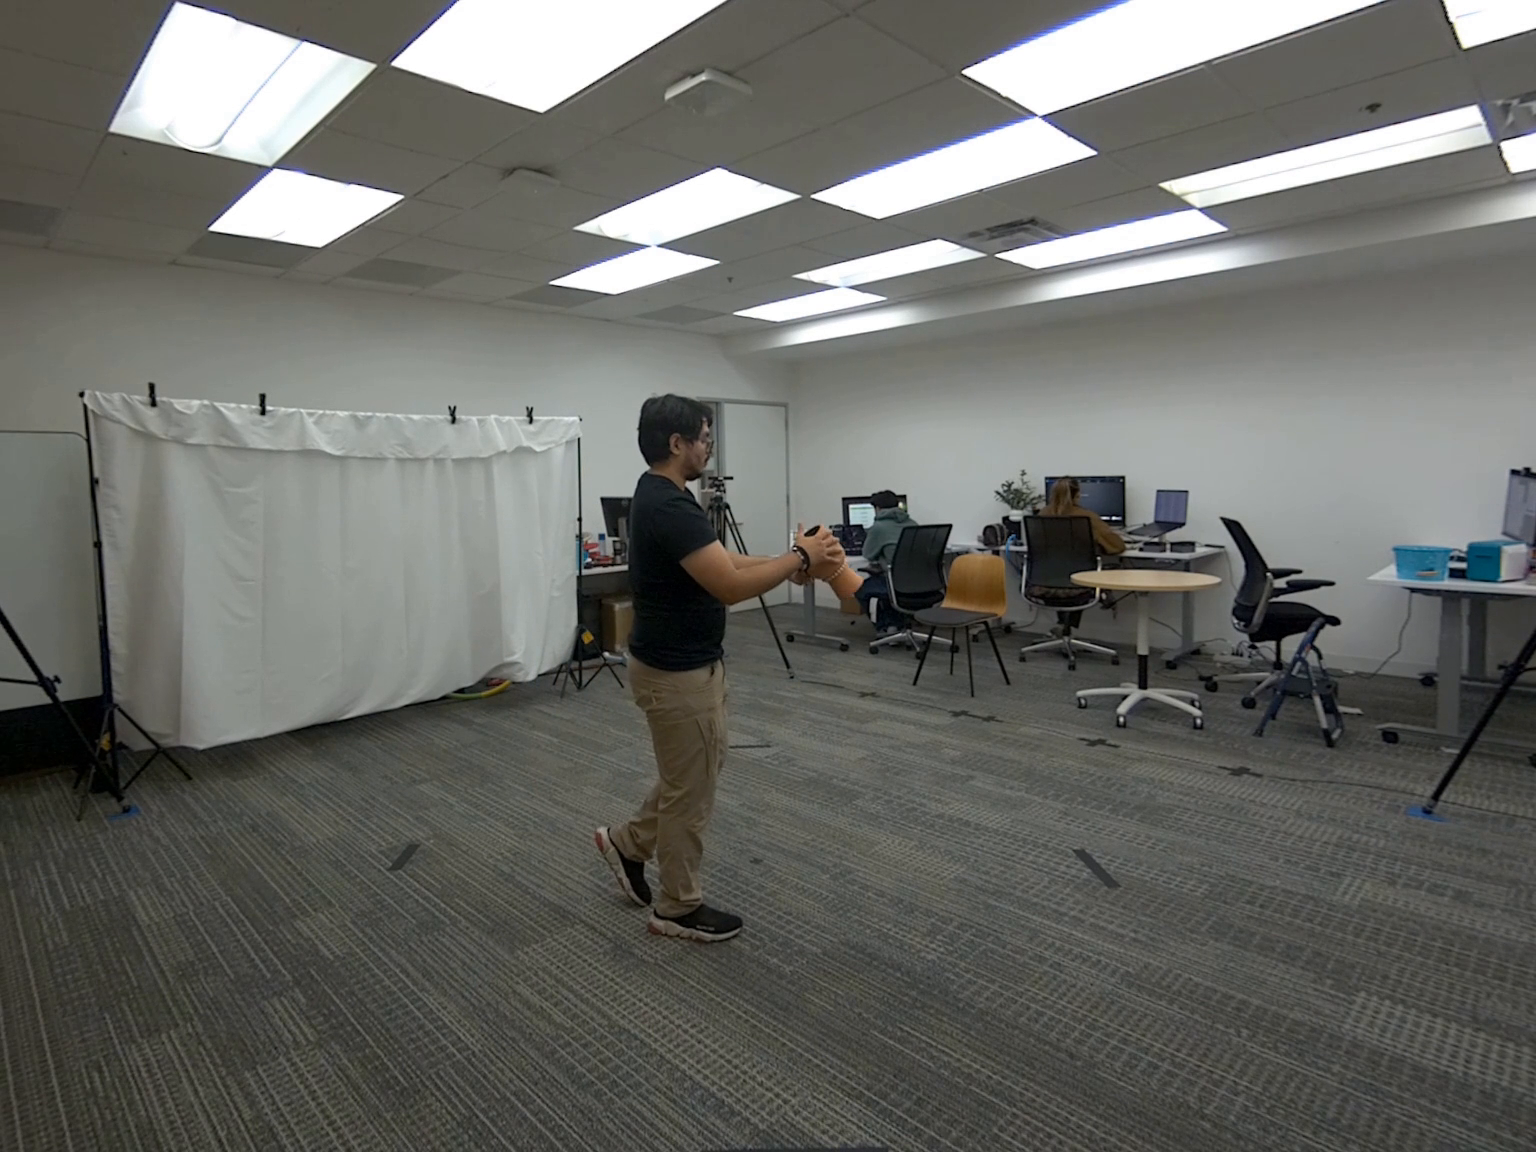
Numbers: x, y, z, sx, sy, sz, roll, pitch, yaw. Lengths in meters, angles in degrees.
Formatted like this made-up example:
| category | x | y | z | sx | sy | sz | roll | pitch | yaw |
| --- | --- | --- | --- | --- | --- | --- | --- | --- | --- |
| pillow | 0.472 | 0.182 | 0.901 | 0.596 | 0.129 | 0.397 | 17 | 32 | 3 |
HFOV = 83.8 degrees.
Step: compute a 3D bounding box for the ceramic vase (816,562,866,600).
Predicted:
| category | x | y | z | sx | sy | sz | roll | pitch | yaw |
| --- | --- | --- | --- | --- | --- | --- | --- | --- | --- |
| ceramic vase | 0.190 | -0.036 | 2.646 | 0.158 | 0.217 | 0.136 | -44 | 10 | -15 |
